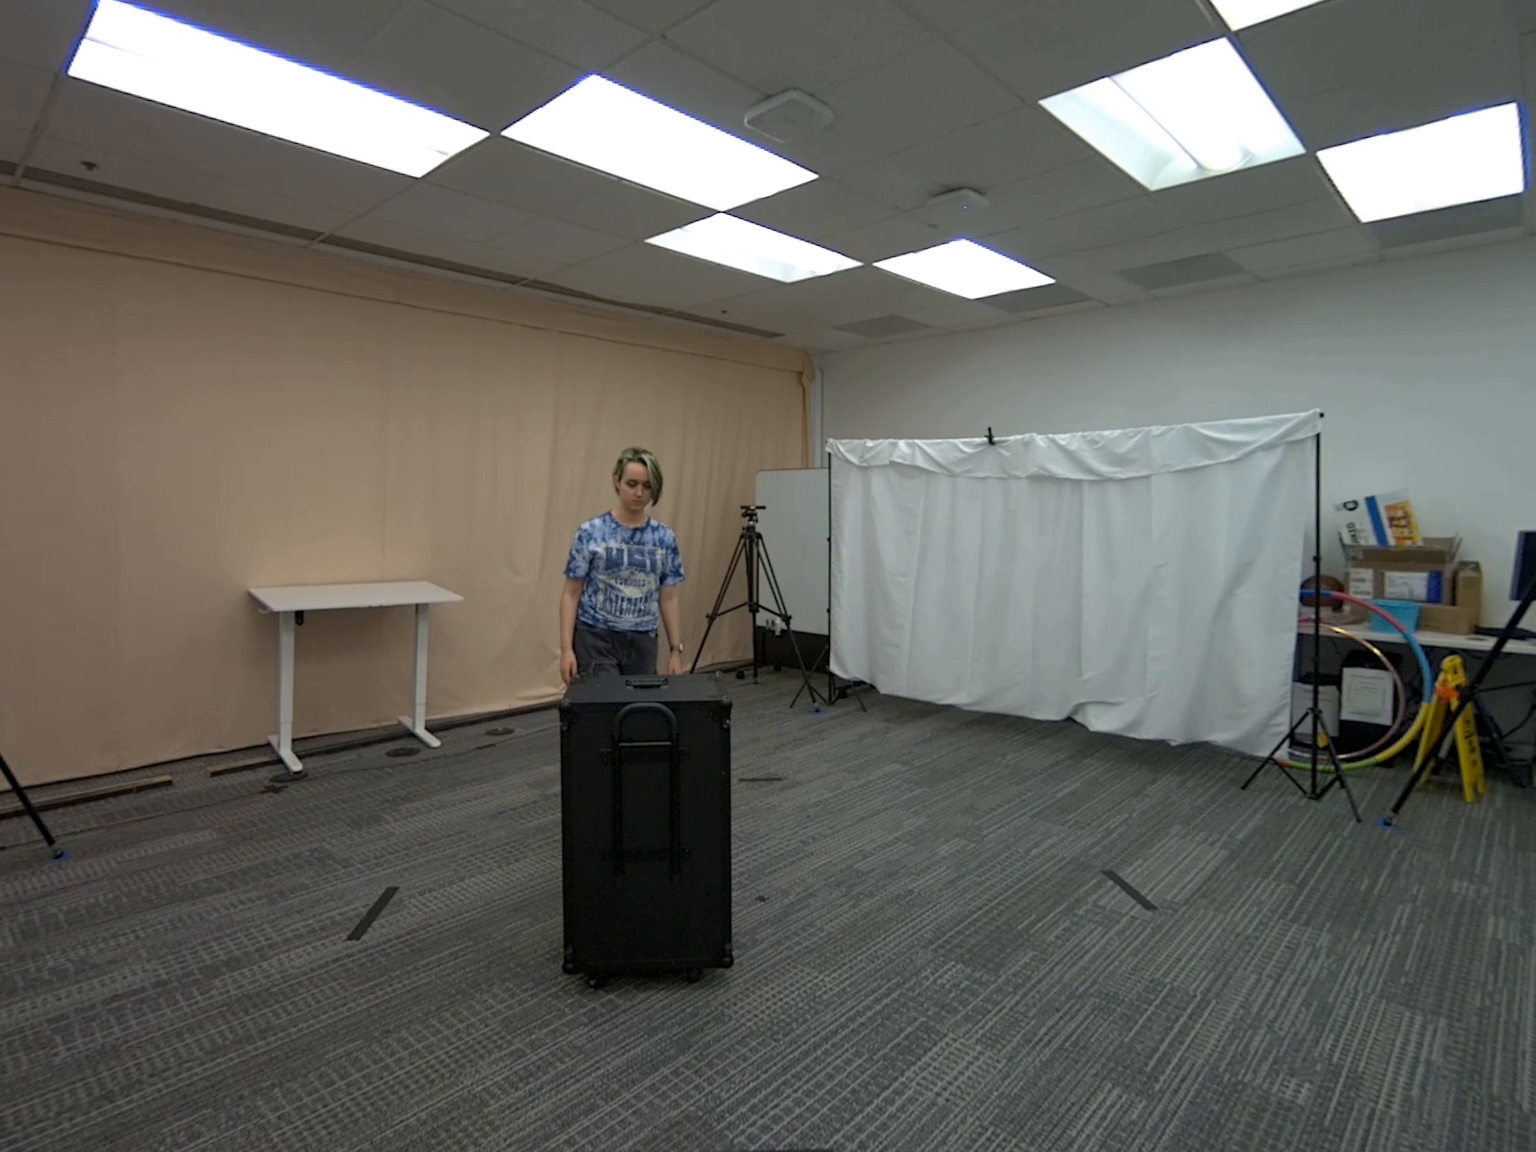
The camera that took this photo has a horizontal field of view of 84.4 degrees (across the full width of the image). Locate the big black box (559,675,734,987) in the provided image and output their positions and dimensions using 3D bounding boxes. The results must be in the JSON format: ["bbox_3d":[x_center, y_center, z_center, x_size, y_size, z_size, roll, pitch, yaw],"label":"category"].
[{"bbox_3d":[-0.351,0.761,2.534,0.518,0.859,0.400,0,5,-7],"label":"big black box"}]
